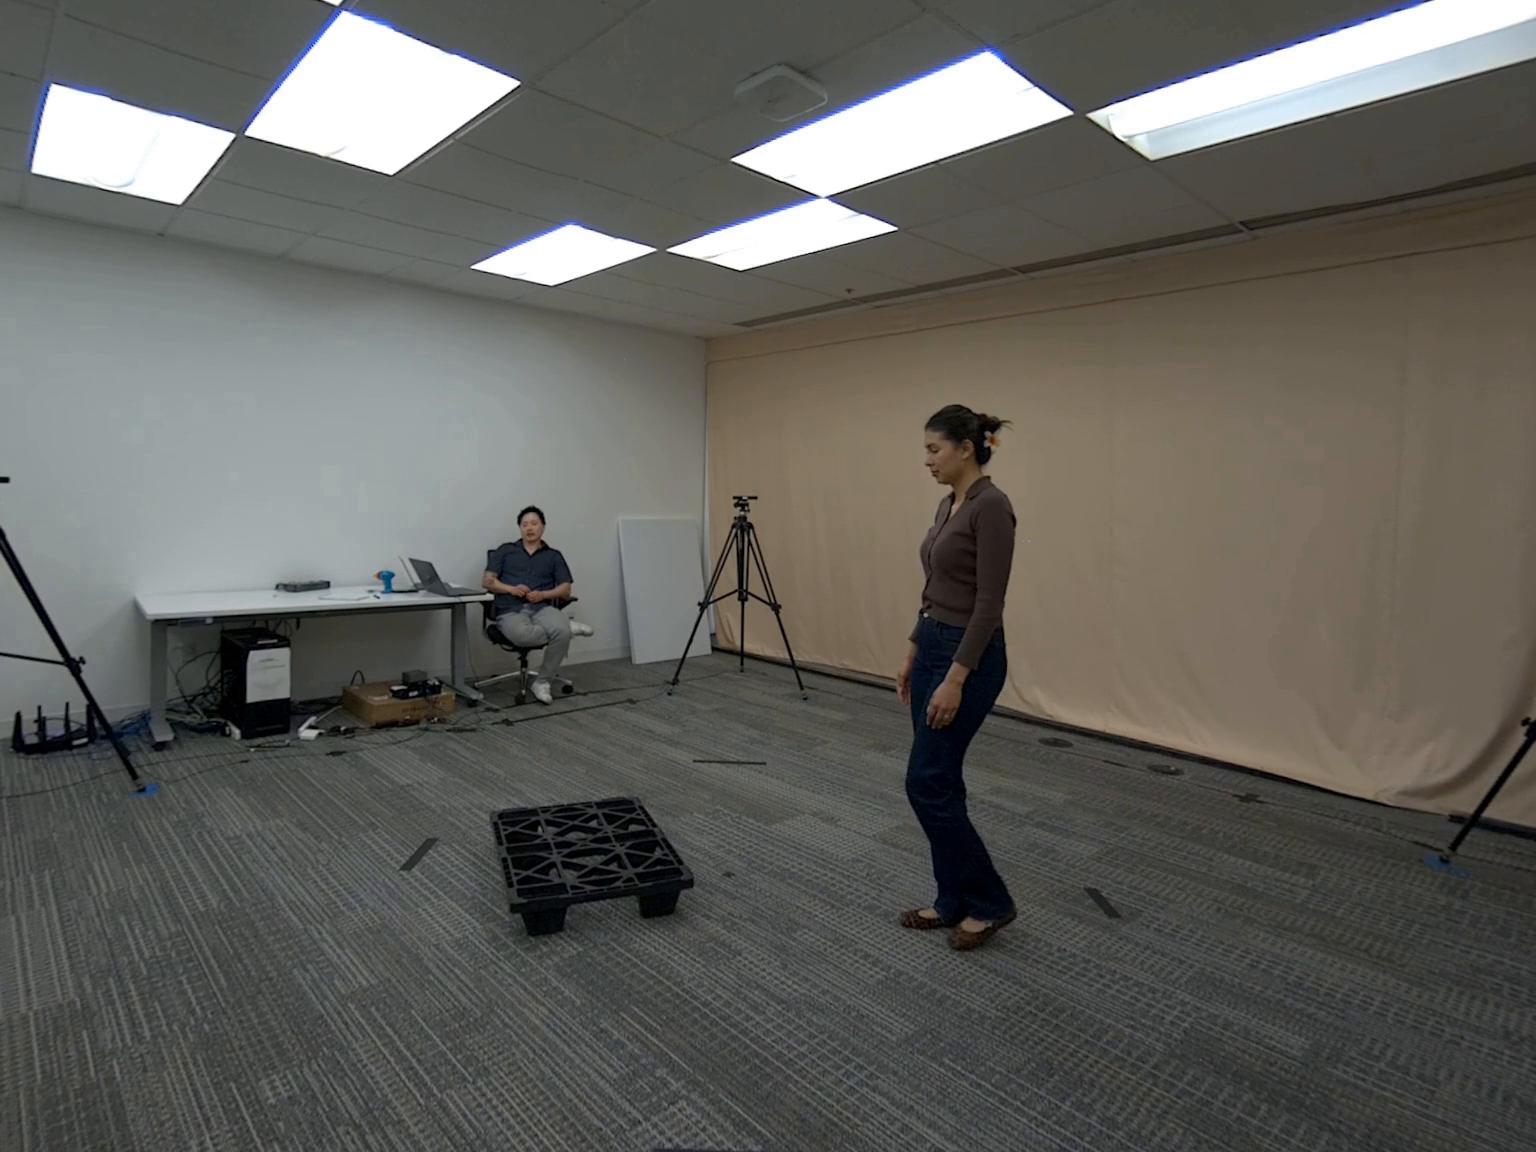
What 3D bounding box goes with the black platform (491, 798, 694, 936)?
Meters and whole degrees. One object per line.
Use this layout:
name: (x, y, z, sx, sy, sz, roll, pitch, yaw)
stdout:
black platform: (-0.674, 1.029, 3.060, 0.595, 0.143, 0.821, 0, 6, -22)
